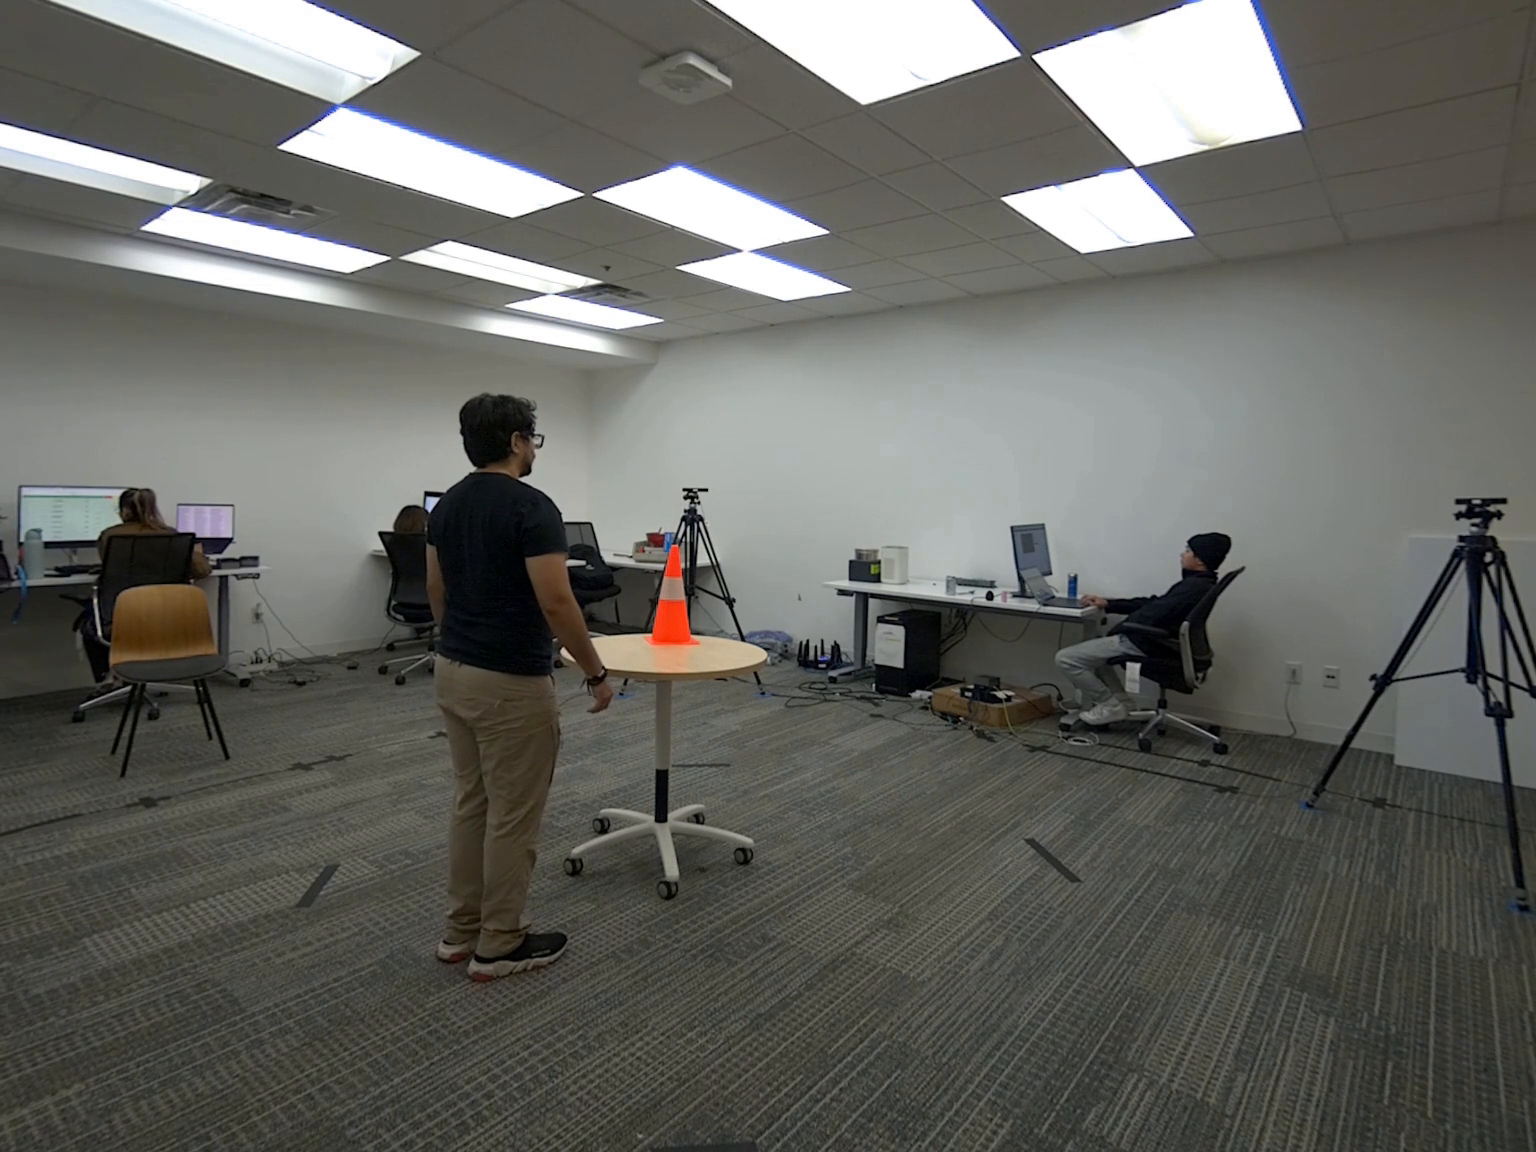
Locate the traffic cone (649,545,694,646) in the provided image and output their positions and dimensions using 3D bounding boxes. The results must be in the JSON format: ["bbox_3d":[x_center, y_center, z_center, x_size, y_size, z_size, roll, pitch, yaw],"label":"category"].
[{"bbox_3d":[-0.394,0.070,3.391,0.198,0.382,0.211,-2,5,-27],"label":"traffic cone"}]
